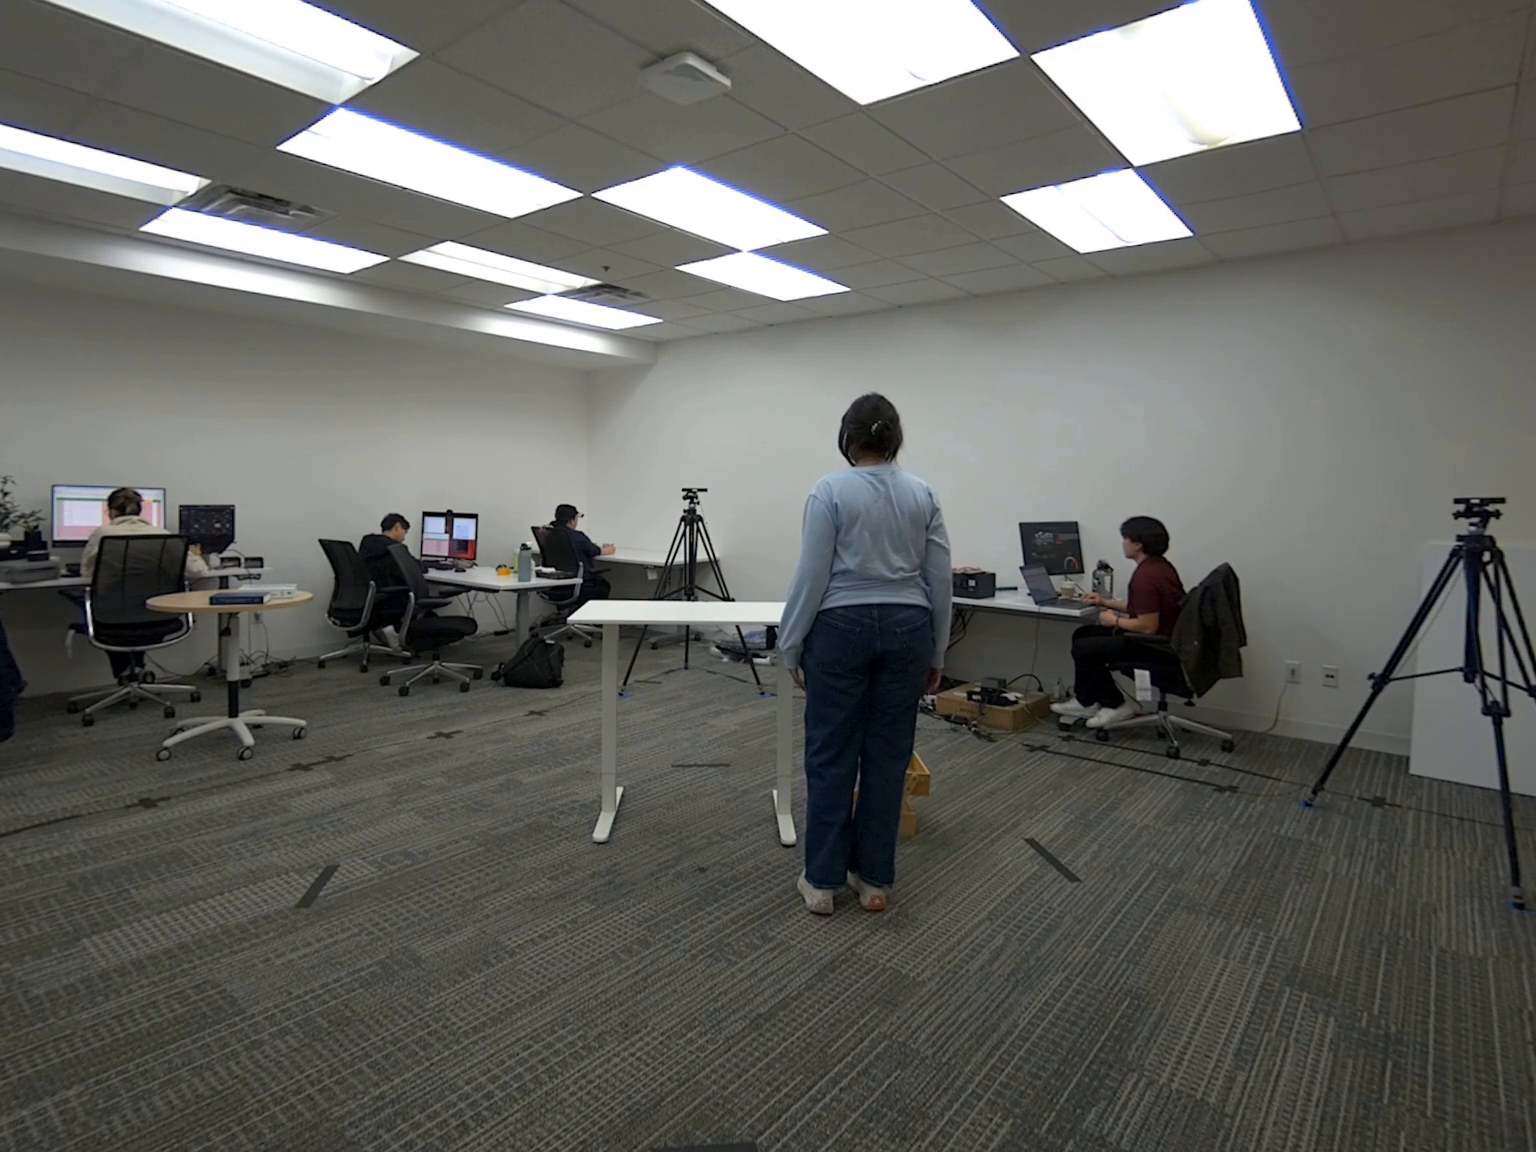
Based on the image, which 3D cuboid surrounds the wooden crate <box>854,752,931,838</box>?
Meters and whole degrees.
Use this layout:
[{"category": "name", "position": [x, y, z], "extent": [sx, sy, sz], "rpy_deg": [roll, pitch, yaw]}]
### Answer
[{"category": "wooden crate", "position": [0.487, 0.899, 3.600], "extent": [0.302, 0.272, 0.326], "rpy_deg": [2, 5, -1]}]
